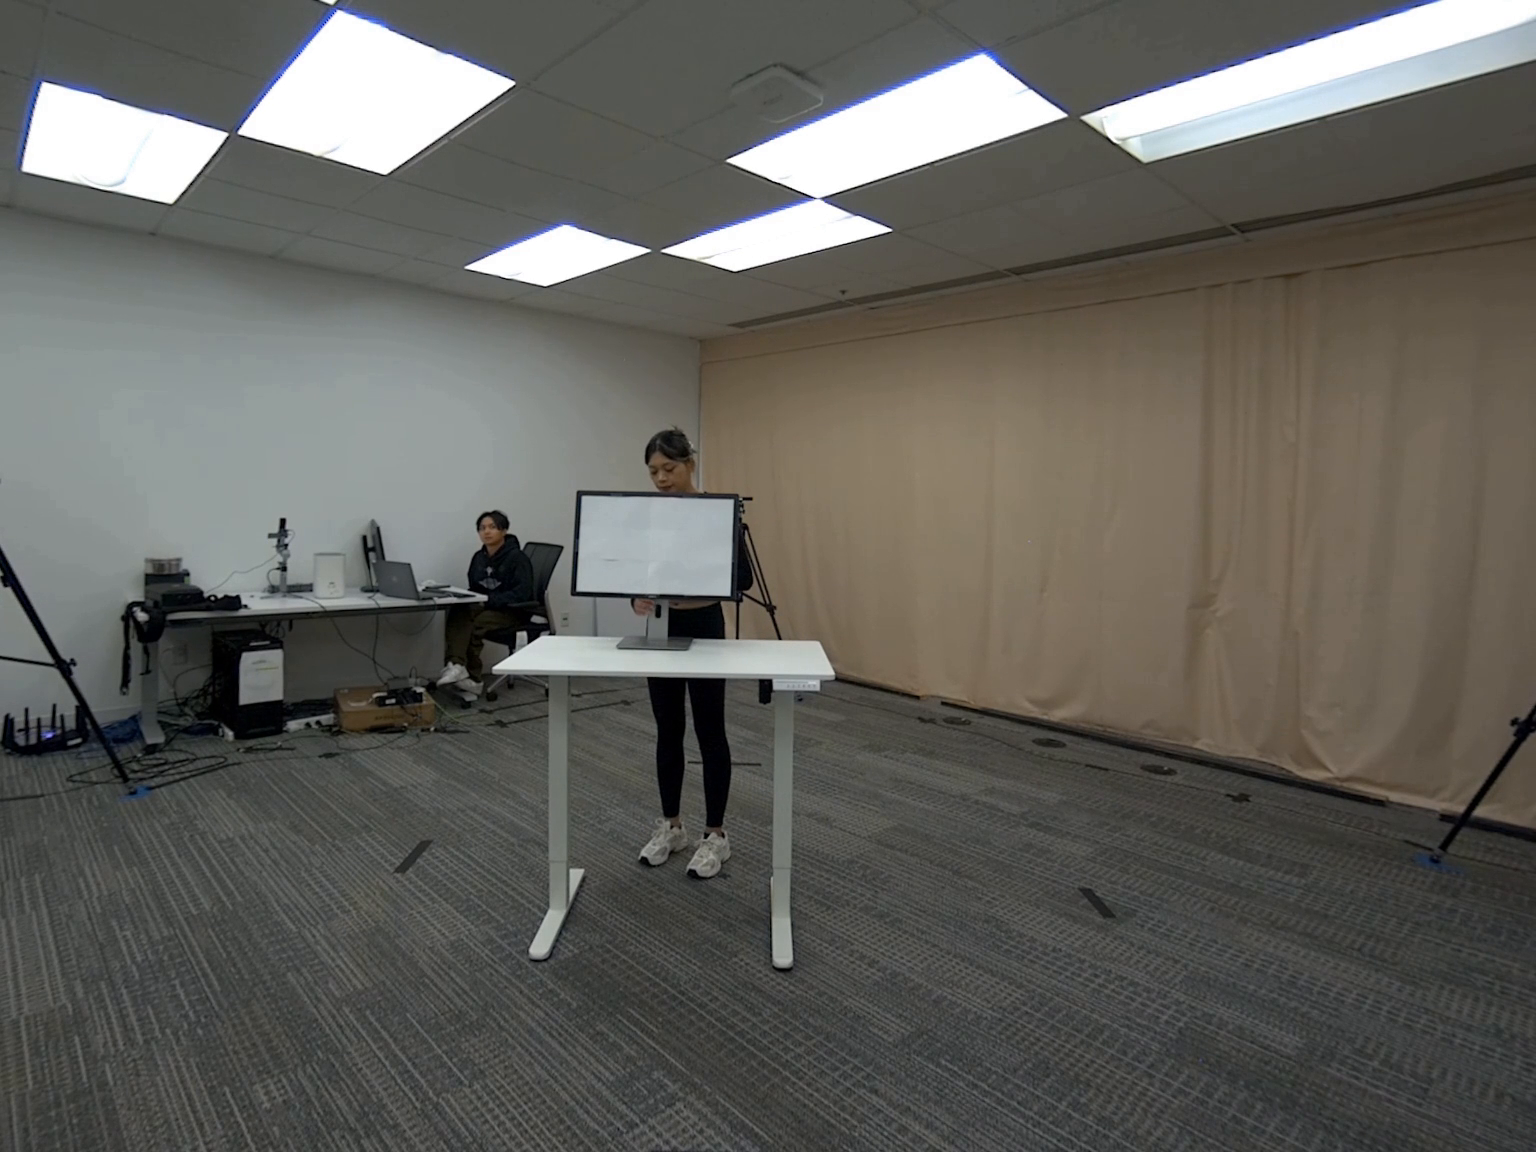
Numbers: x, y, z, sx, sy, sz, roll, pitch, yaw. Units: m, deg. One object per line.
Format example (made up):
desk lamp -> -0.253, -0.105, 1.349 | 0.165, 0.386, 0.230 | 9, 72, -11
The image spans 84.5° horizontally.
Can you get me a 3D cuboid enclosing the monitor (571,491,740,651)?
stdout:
monitor -> -0.381, -0.017, 2.888 | 0.540, 0.520, 0.187 | 1, 5, 2
